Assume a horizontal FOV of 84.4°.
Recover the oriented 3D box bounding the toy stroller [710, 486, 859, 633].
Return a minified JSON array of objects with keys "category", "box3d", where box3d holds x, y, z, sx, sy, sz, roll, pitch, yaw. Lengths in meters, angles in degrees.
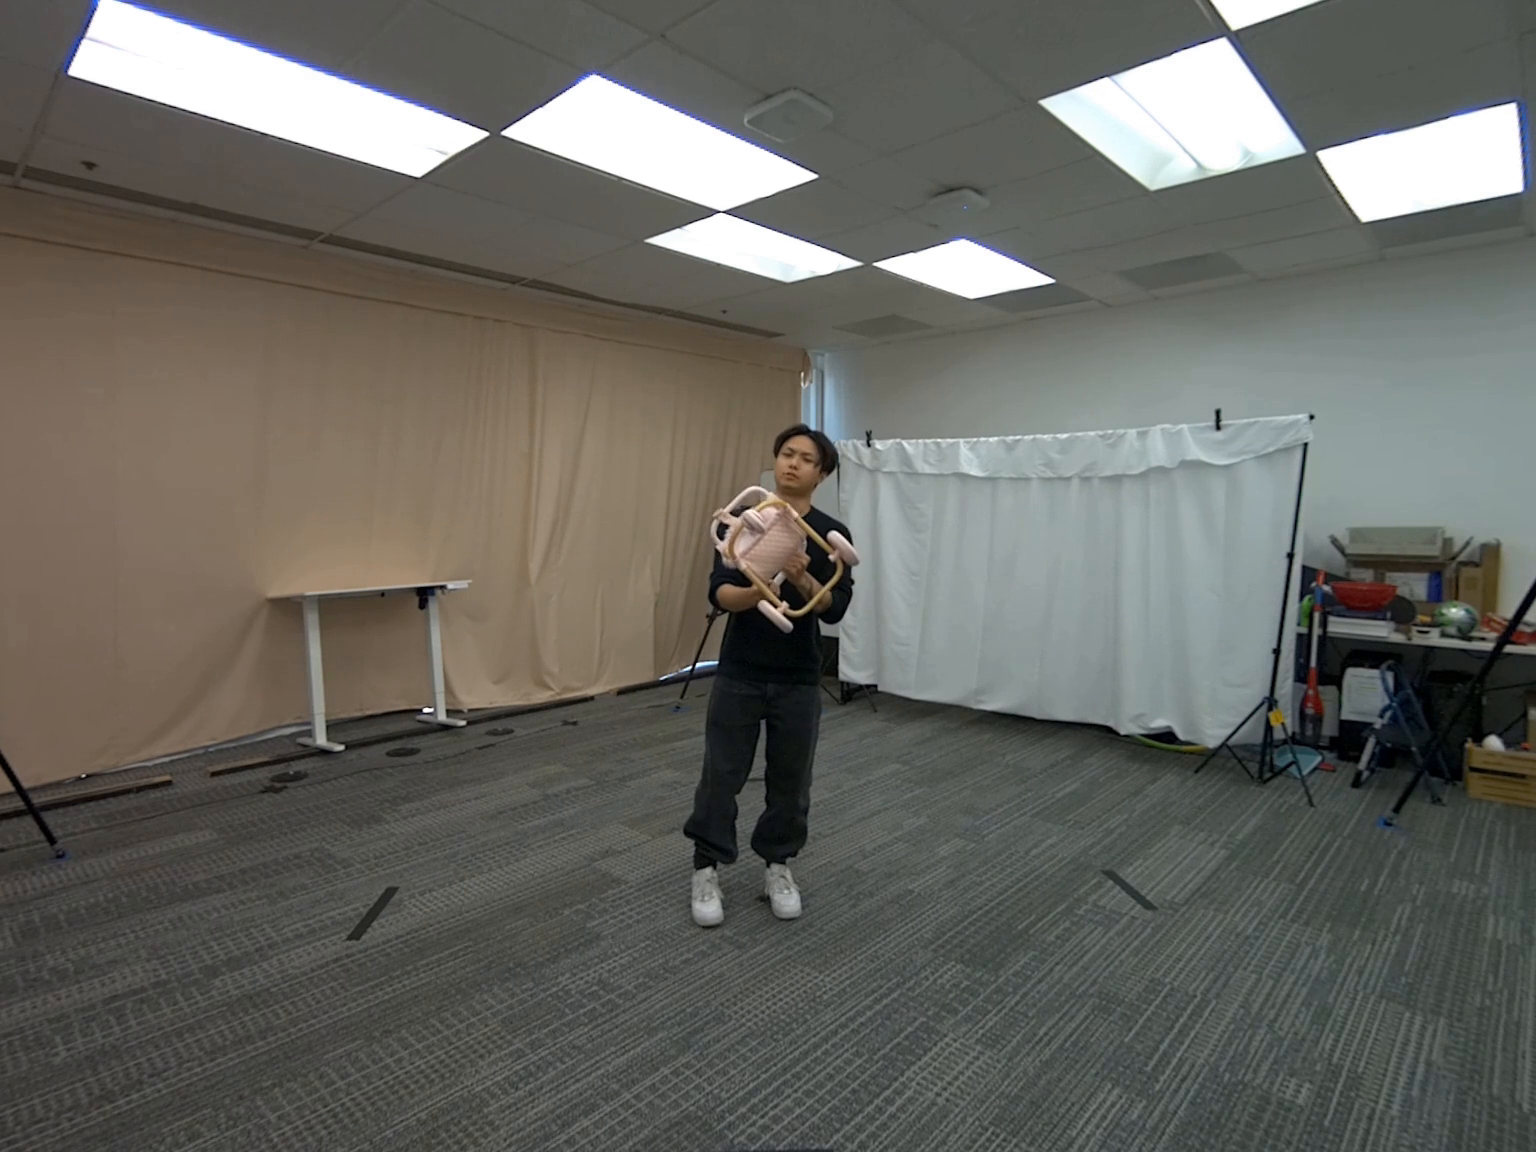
[{"category":"toy stroller","box3d":[-0.006,-0.076,2.290,0.336,0.281,0.544,42,0,-15]}]
